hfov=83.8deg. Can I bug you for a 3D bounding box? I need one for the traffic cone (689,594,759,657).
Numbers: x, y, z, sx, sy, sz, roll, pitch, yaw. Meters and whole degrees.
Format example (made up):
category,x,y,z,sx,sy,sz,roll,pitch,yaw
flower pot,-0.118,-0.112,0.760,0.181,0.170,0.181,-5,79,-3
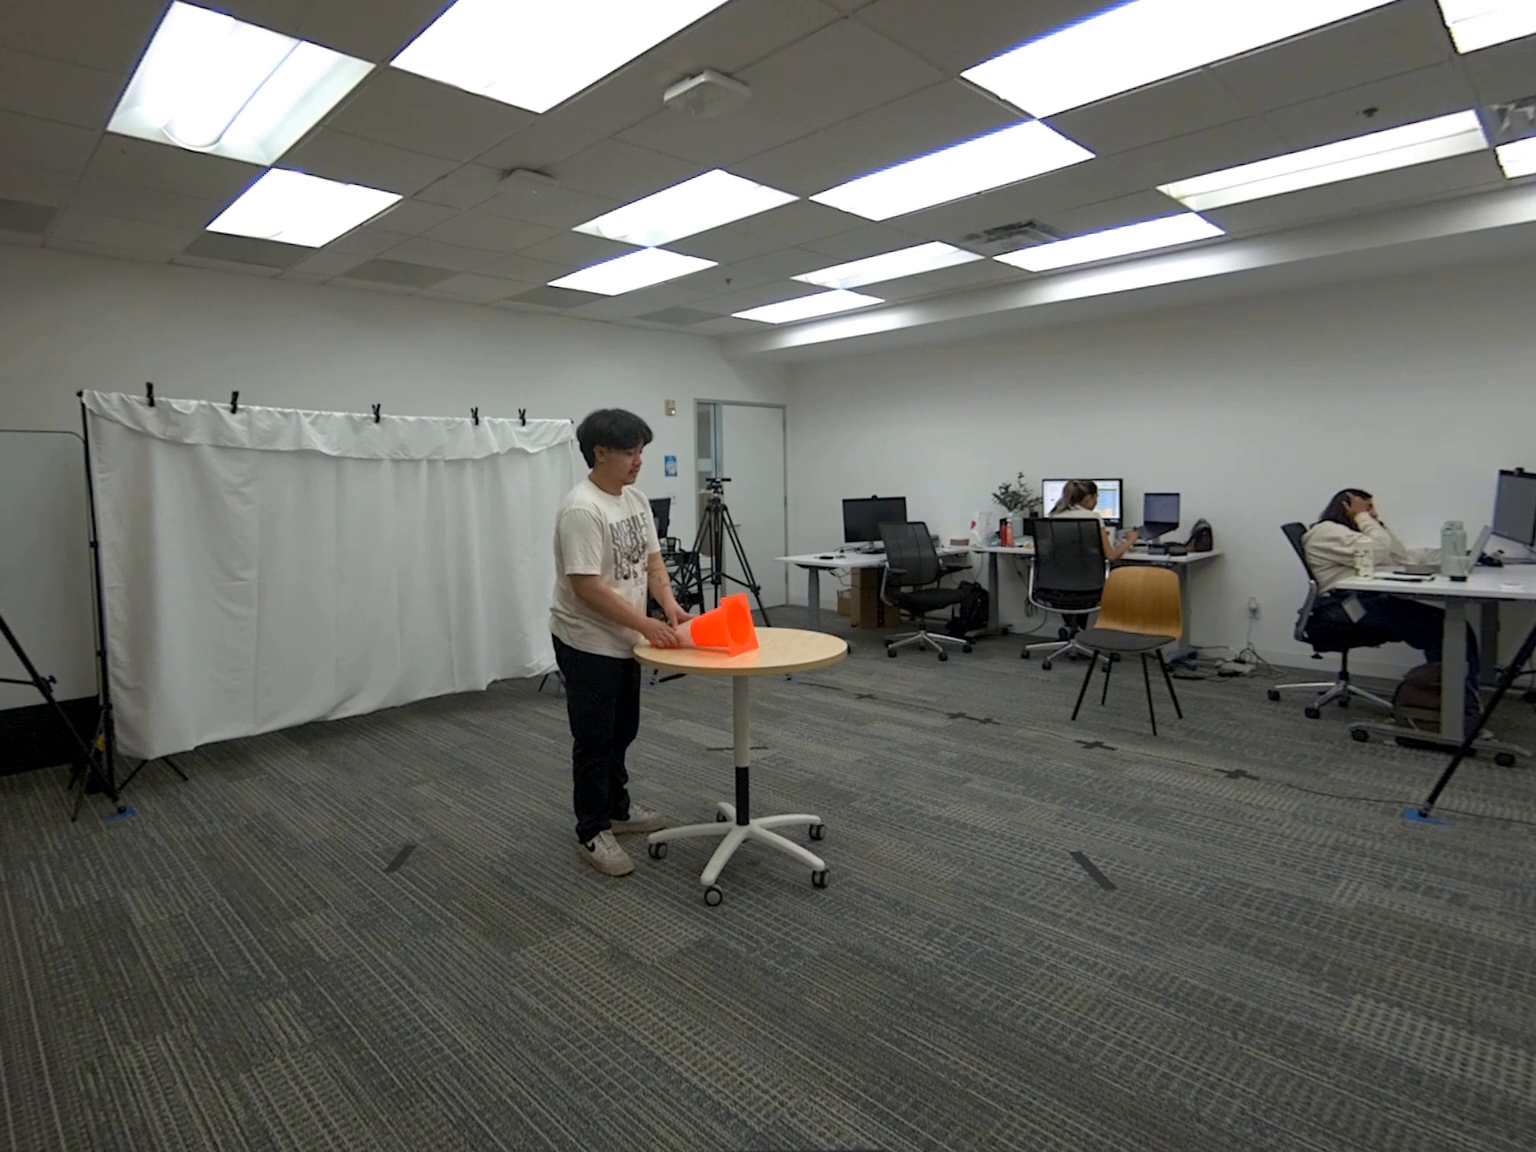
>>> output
category,x,y,z,sx,sy,sz,roll,pitch,yaw
traffic cone,-0.262,0.202,3.038,0.391,0.203,0.201,-11,2,26
